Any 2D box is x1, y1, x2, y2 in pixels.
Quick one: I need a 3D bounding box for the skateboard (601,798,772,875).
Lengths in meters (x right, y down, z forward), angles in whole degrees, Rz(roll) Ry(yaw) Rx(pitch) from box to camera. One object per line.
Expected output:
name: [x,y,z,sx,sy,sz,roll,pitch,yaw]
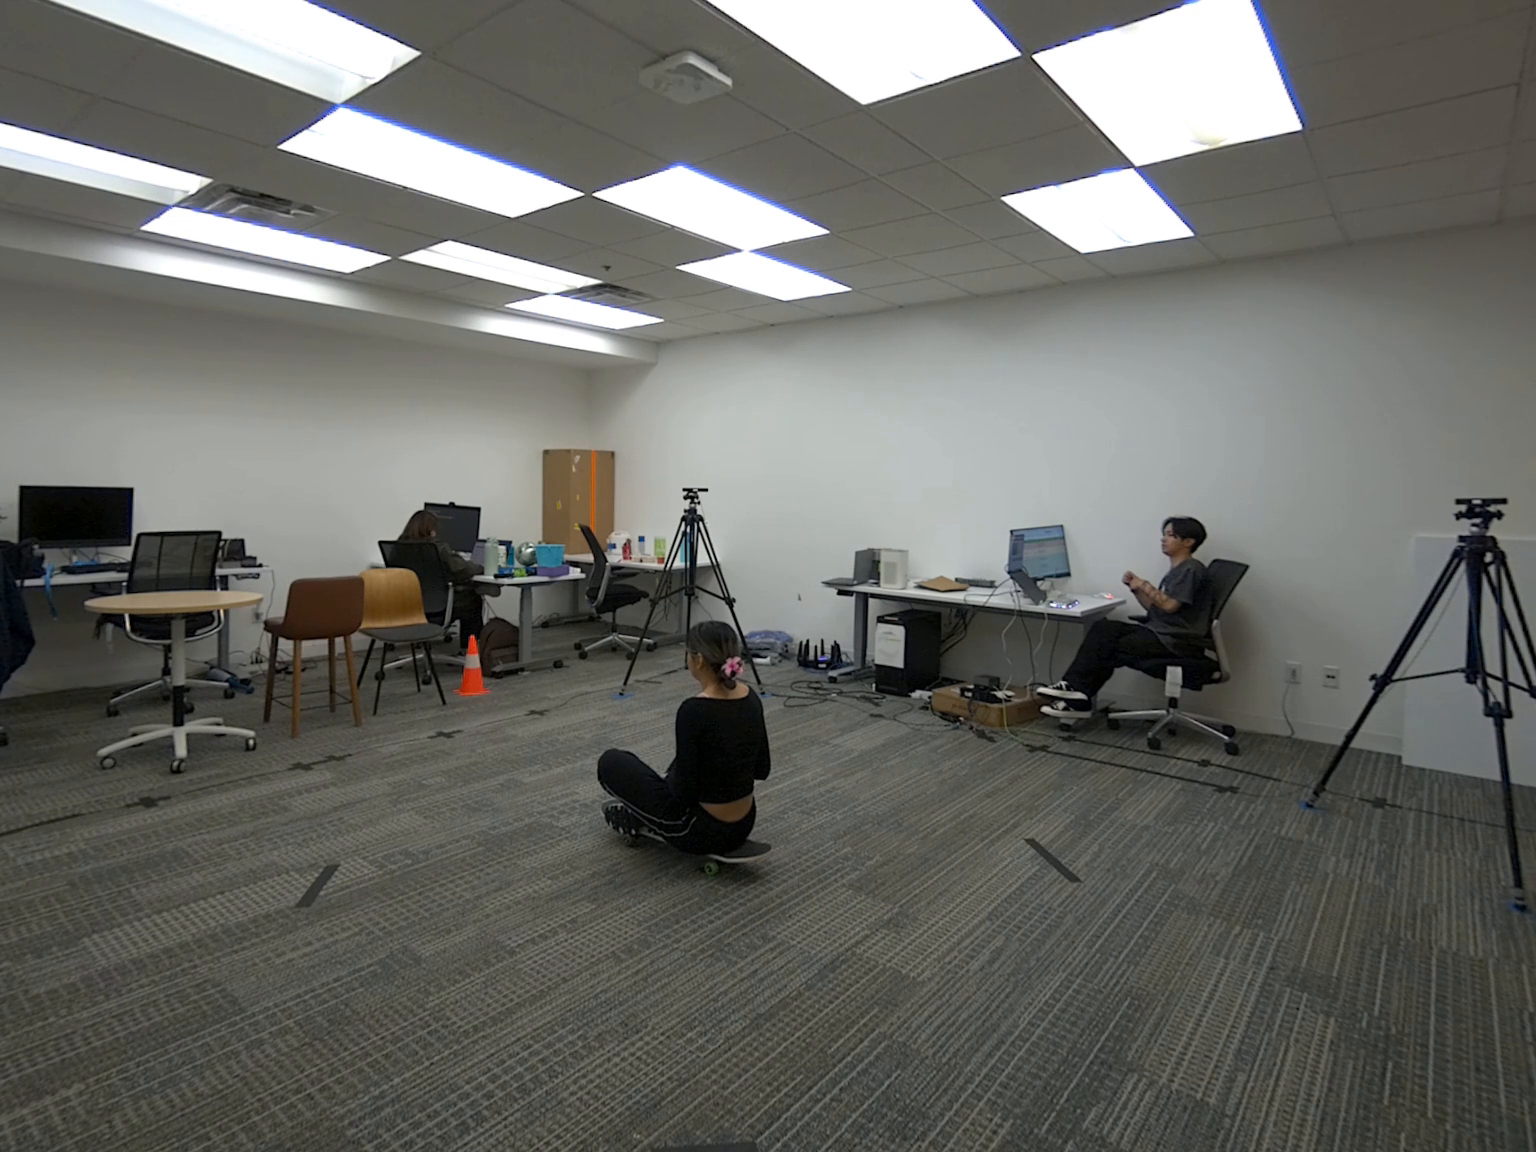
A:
skateboard: [-0.348,0.993,3.248,0.810,0.110,0.188,6,7,33]
